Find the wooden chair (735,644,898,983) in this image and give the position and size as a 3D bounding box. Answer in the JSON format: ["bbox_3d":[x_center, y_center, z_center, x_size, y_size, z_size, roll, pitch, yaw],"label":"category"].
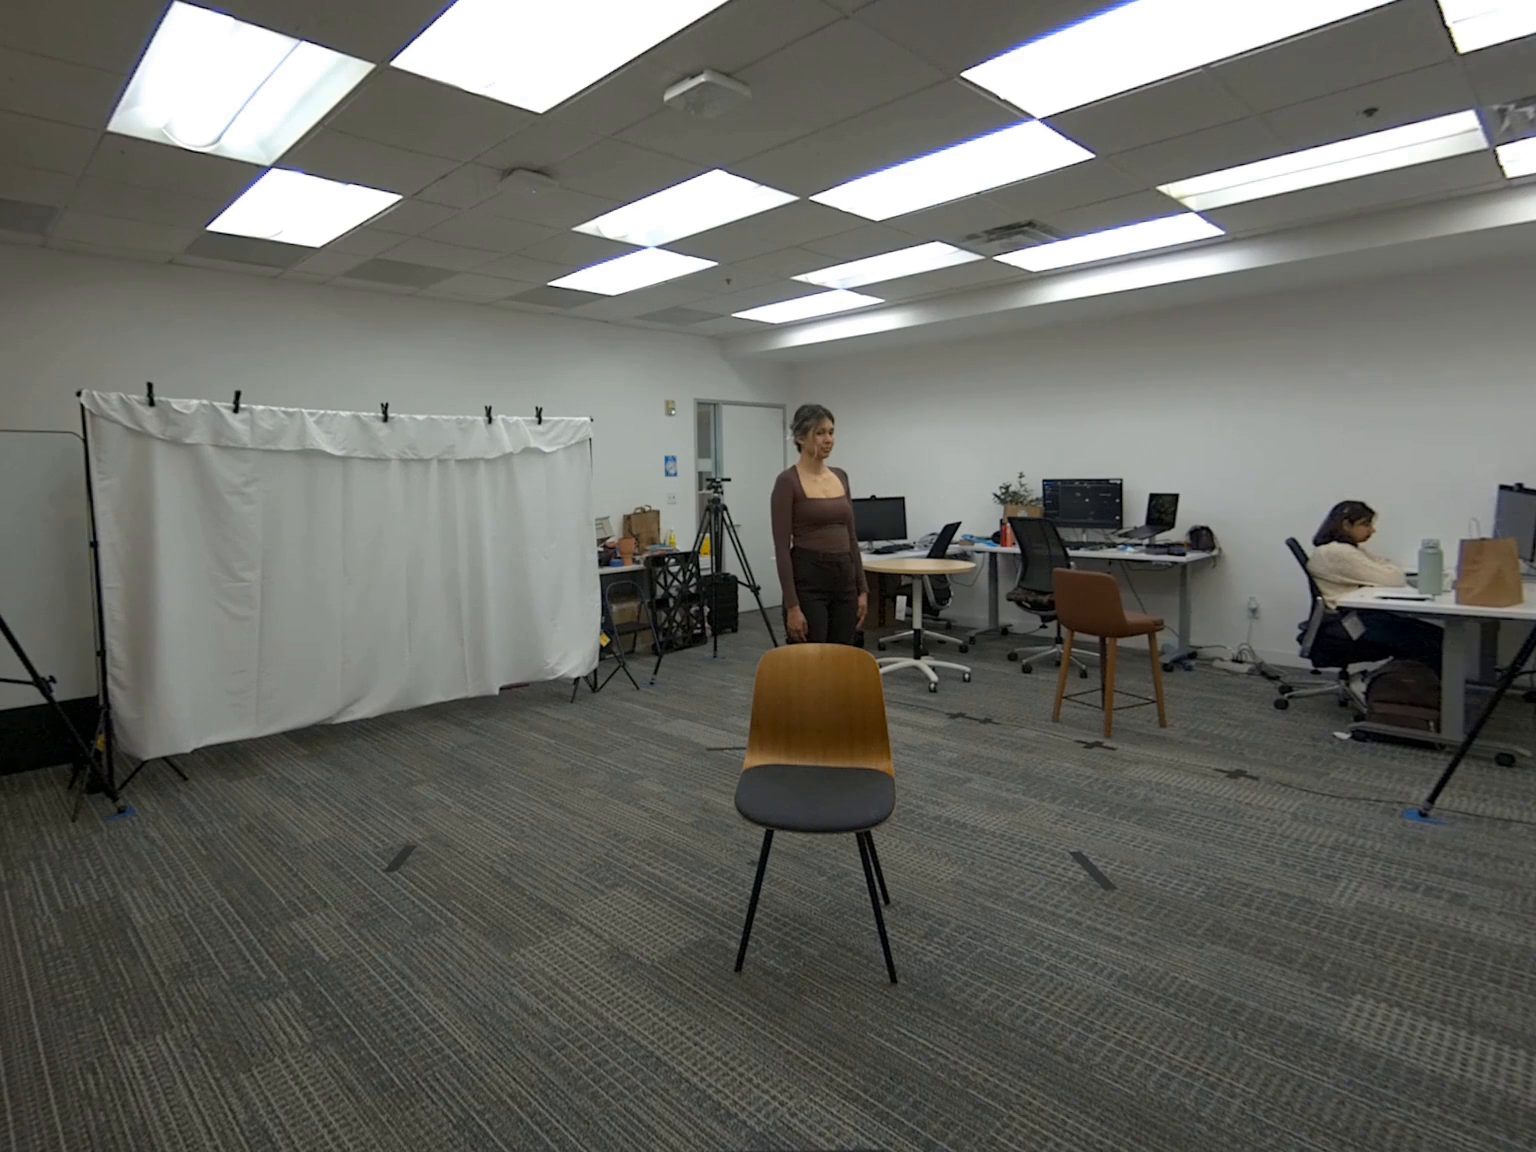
[{"bbox_3d":[0.147,0.674,2.566,0.482,0.877,0.519,0,0,7],"label":"wooden chair"}]
